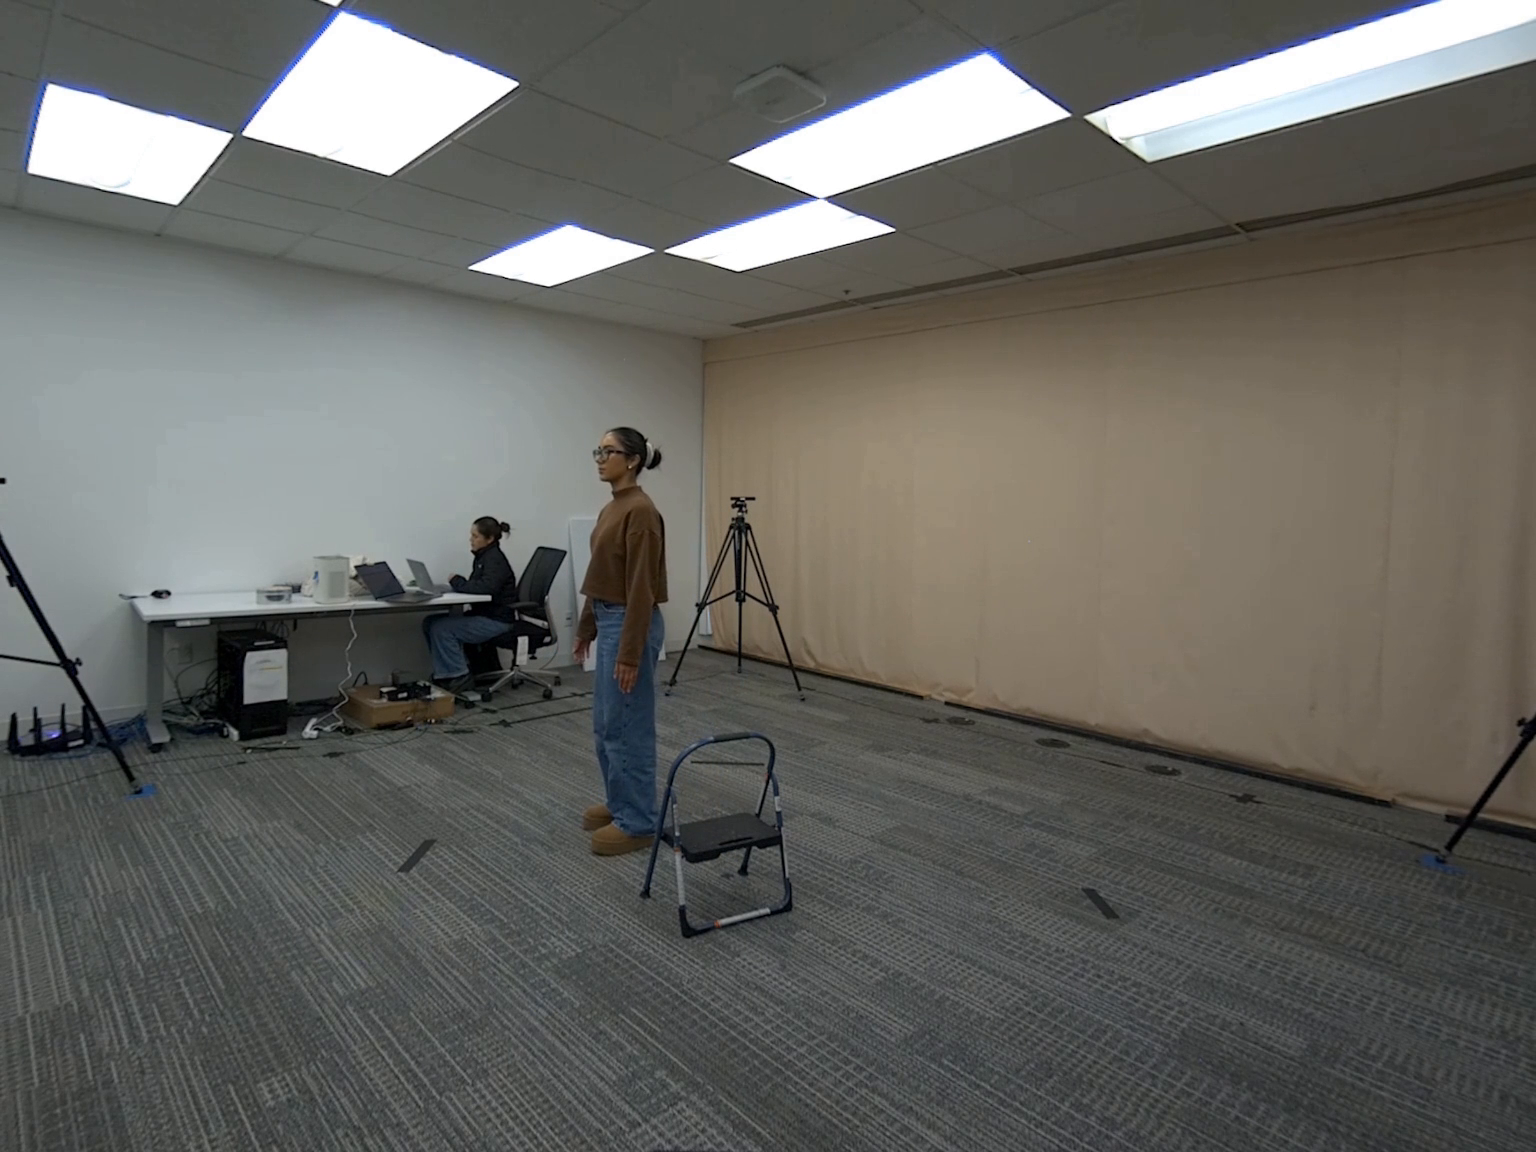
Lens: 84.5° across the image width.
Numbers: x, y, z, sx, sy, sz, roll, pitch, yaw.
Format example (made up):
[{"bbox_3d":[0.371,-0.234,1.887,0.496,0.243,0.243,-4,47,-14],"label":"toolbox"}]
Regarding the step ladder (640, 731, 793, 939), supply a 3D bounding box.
[{"bbox_3d":[-0.177,0.821,2.879,0.422,0.604,0.357,-1,4,-32],"label":"step ladder"}]
